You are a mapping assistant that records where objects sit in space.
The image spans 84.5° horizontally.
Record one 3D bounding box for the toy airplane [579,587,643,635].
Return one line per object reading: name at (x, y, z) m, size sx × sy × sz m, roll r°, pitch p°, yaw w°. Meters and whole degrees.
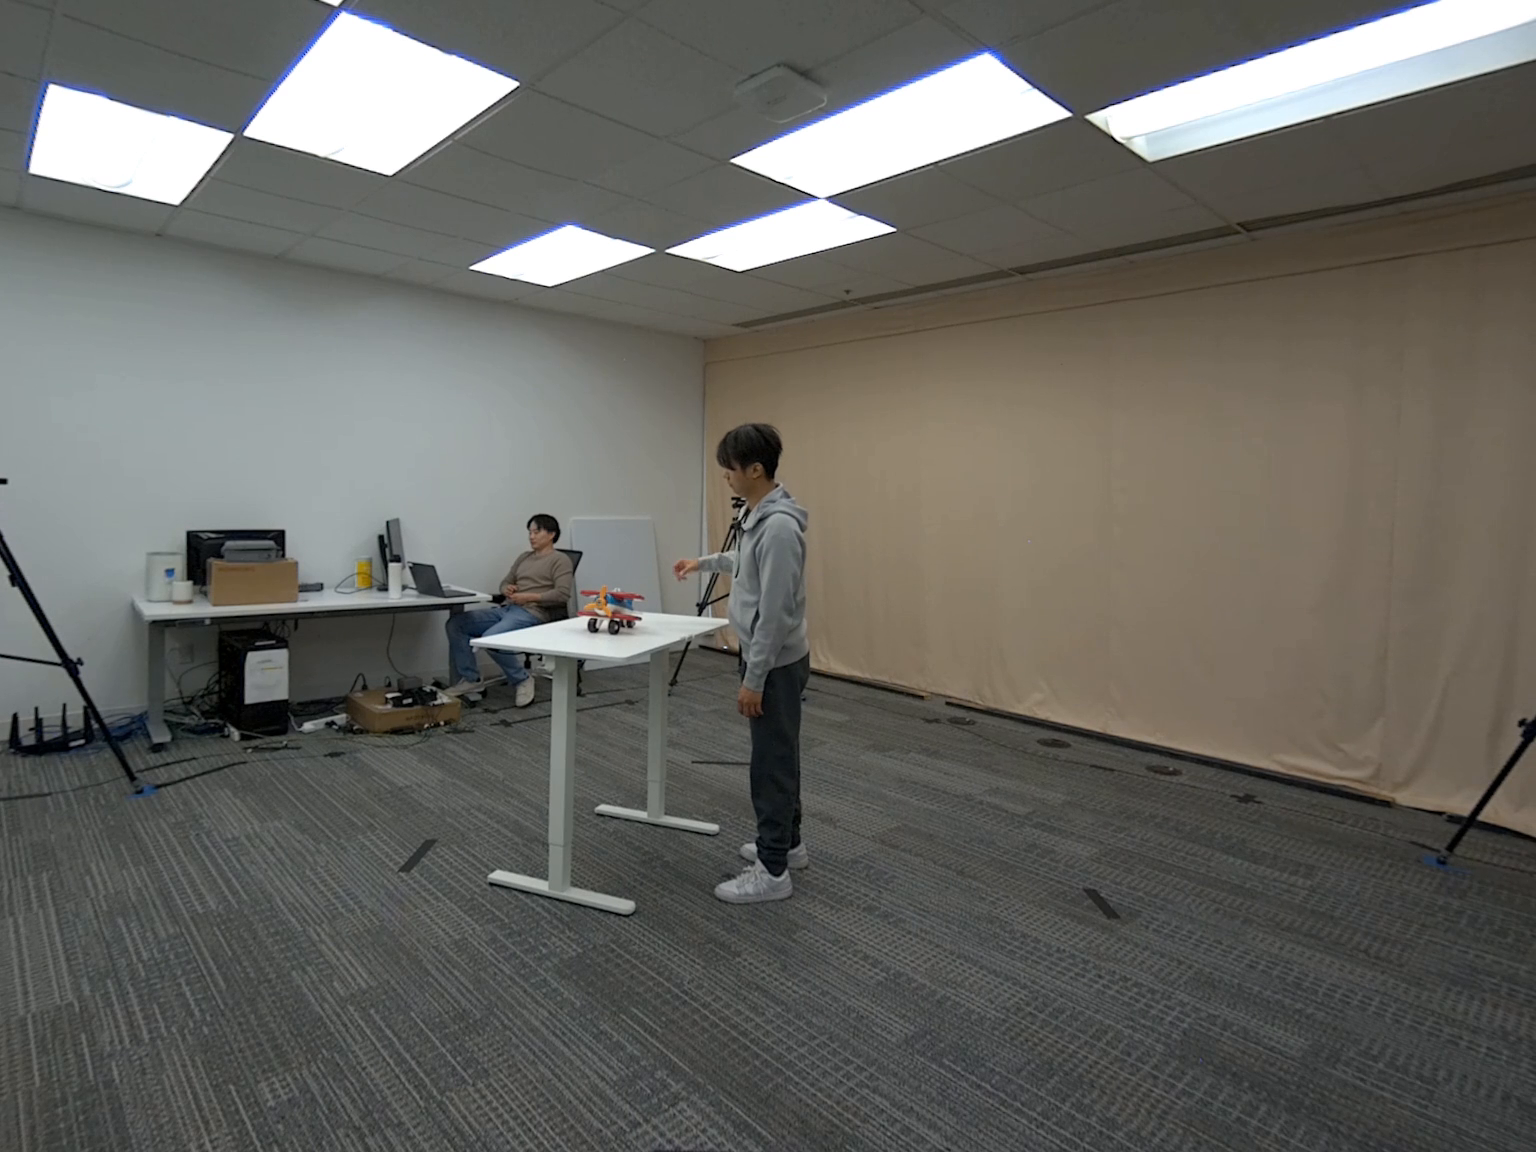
toy airplane at (-0.602, 0.130, 3.199) m, size 0.249 × 0.156 × 0.262 m, roll 1°, pitch 5°, yaw -8°
